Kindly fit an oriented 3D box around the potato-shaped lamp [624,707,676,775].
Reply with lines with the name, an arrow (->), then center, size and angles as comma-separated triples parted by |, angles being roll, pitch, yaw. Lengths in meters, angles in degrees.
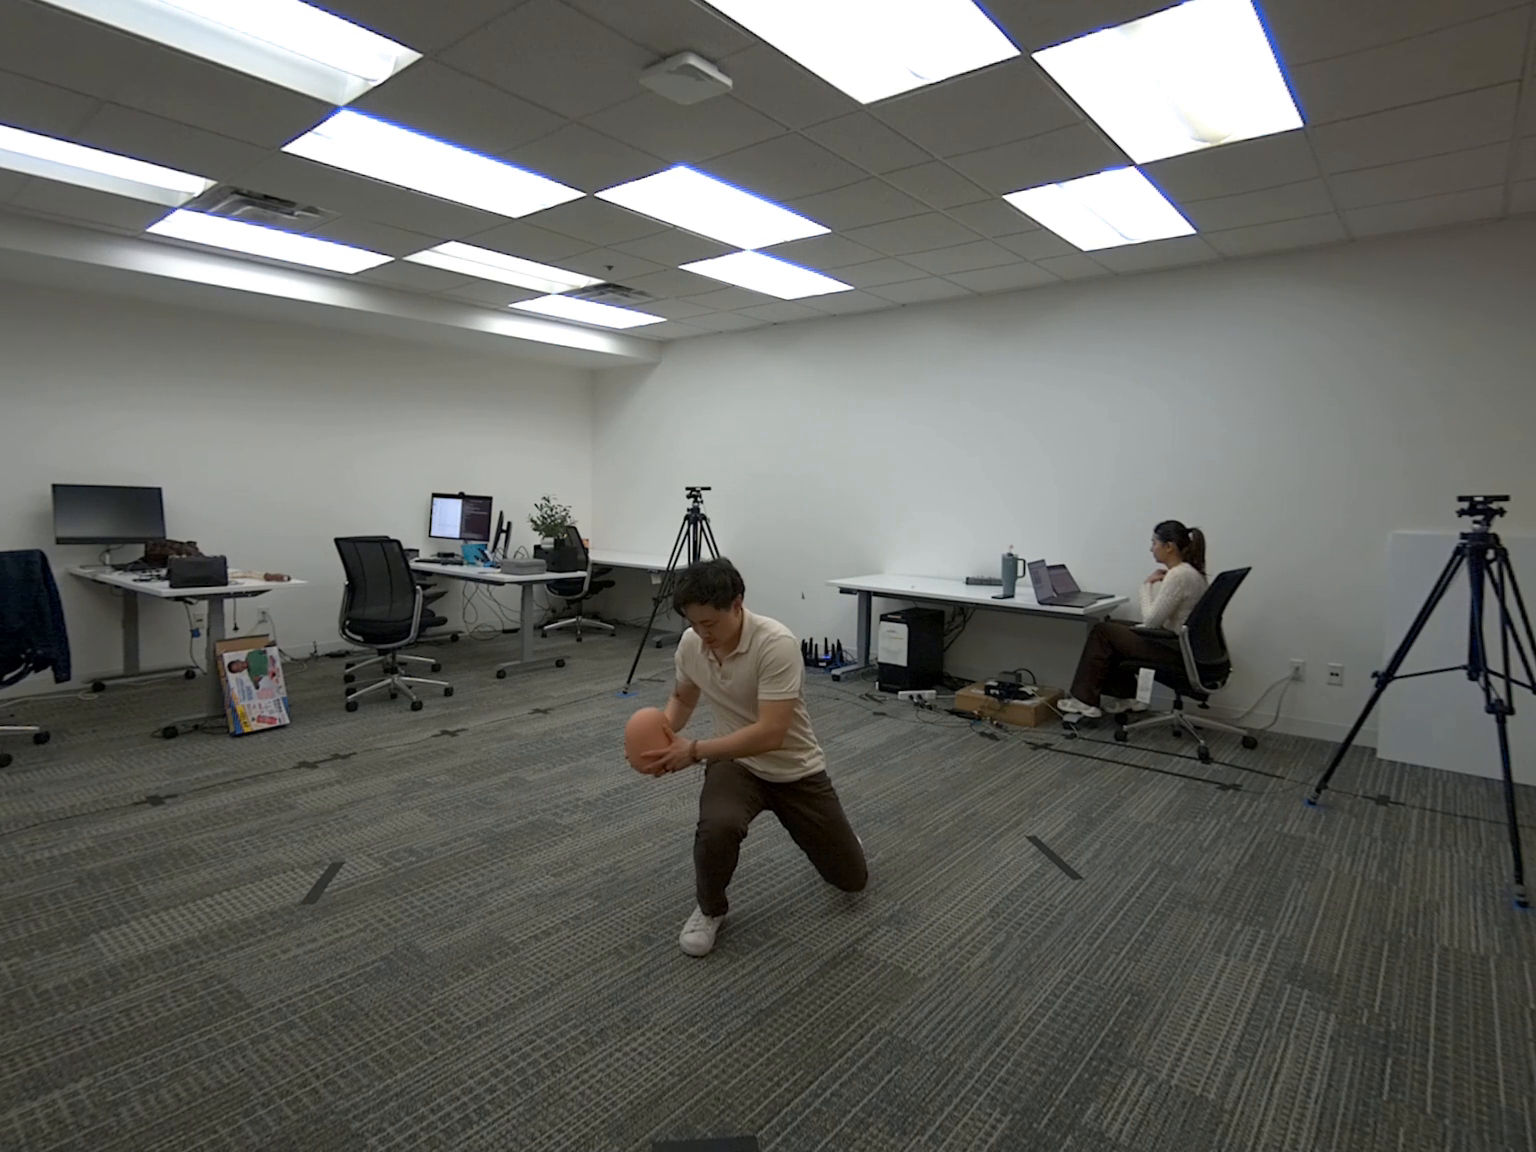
potato-shaped lamp -> -0.343, 0.508, 2.654 | 0.167, 0.199, 0.168 | -8, -5, -36
